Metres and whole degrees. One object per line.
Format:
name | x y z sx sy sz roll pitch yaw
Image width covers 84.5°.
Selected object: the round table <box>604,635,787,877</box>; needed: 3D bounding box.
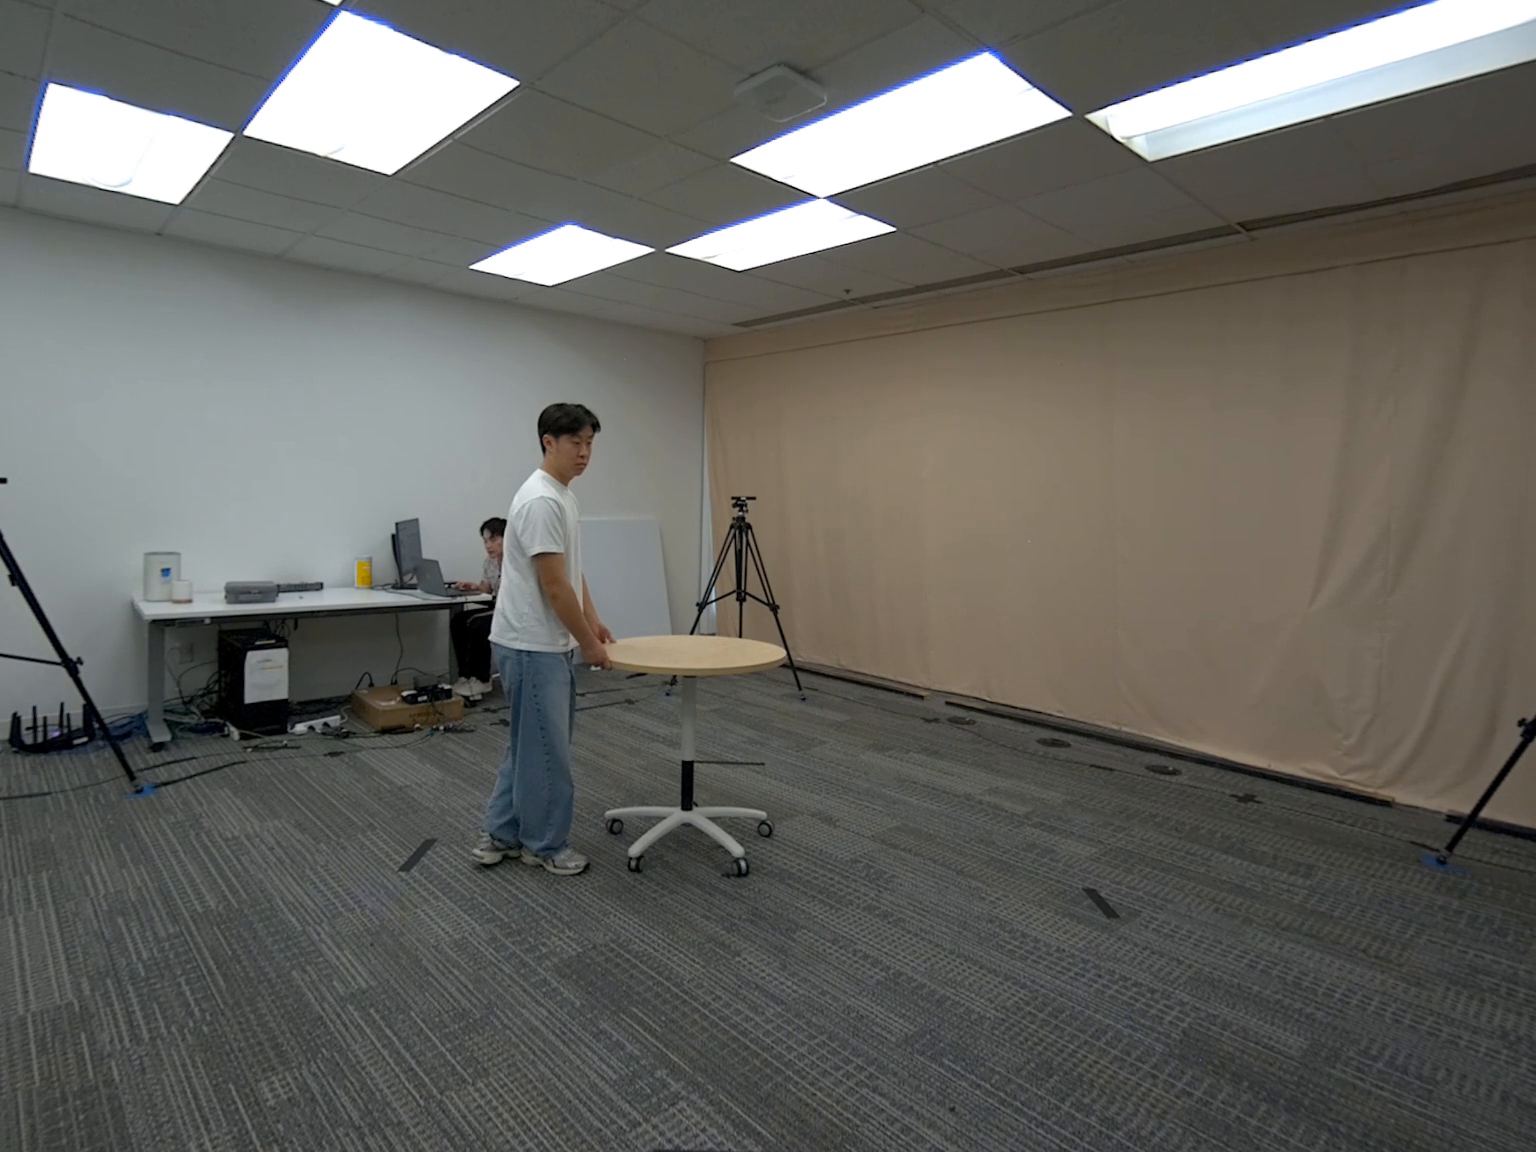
round table | -0.317 0.689 3.370 0.763 0.792 0.766 1 4 -1
